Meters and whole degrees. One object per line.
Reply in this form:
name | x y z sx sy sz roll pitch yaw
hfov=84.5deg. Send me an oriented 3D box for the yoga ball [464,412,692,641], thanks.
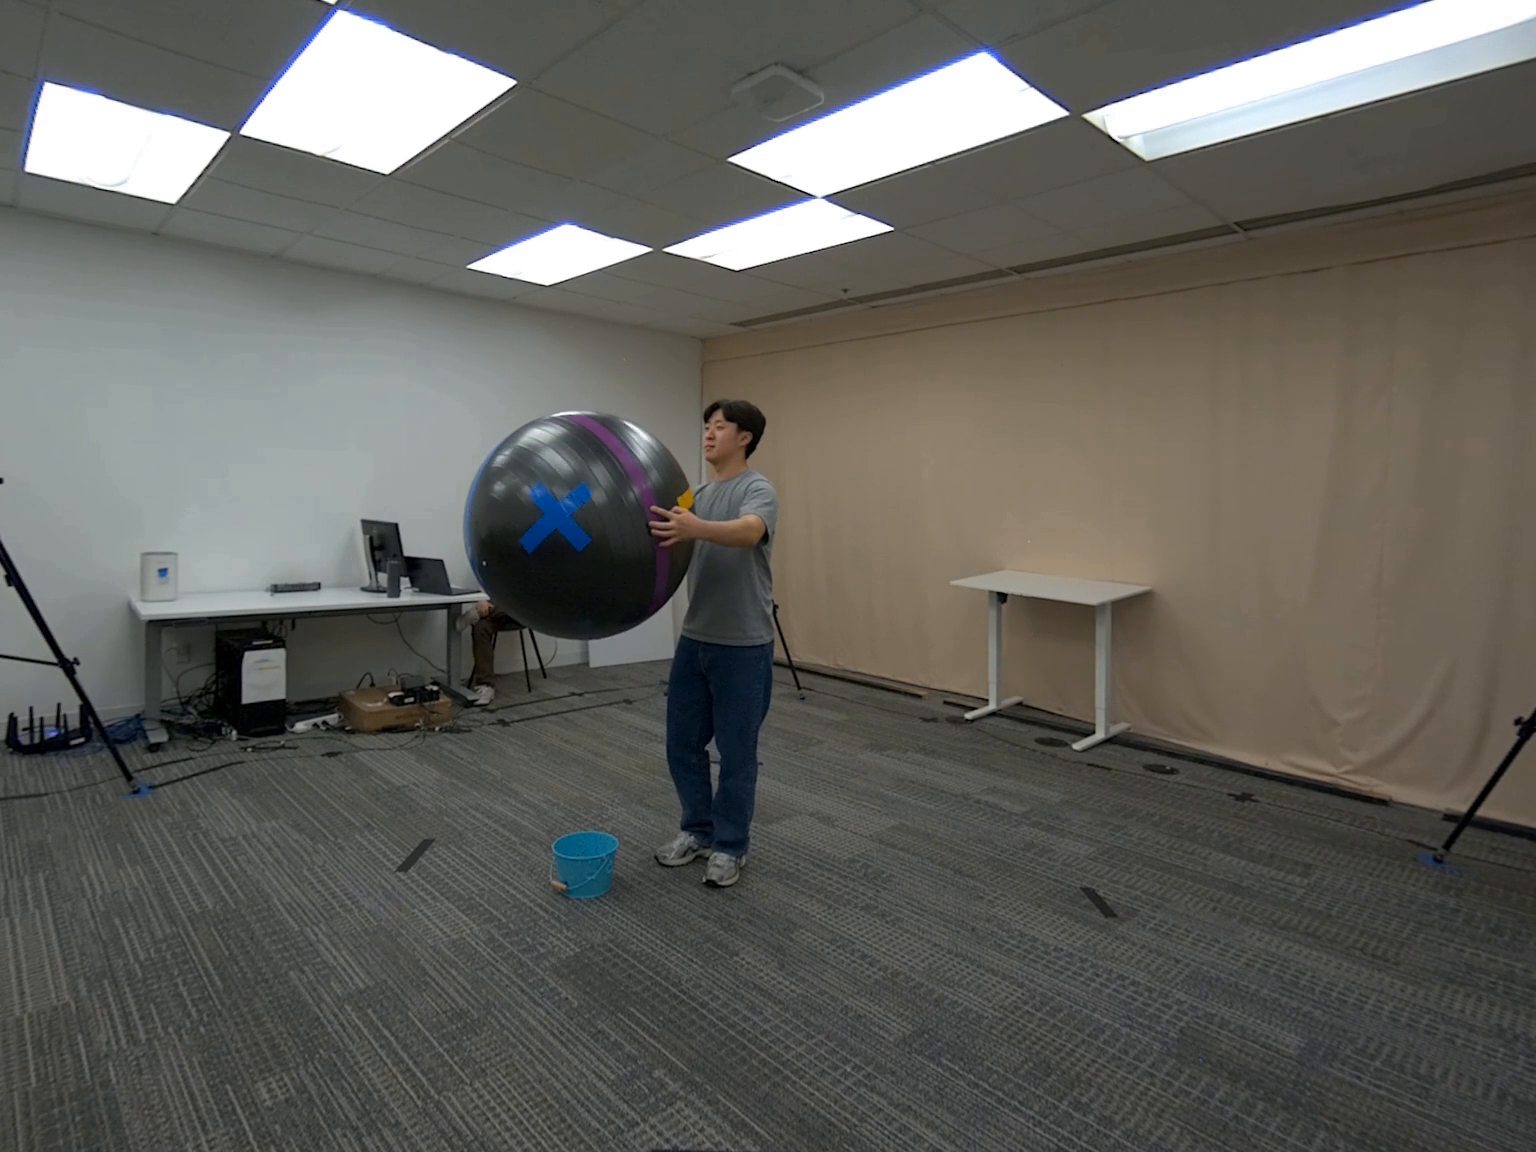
yoga ball | -0.625 -0.157 2.806 0.757 0.756 0.761 1 4 -1
